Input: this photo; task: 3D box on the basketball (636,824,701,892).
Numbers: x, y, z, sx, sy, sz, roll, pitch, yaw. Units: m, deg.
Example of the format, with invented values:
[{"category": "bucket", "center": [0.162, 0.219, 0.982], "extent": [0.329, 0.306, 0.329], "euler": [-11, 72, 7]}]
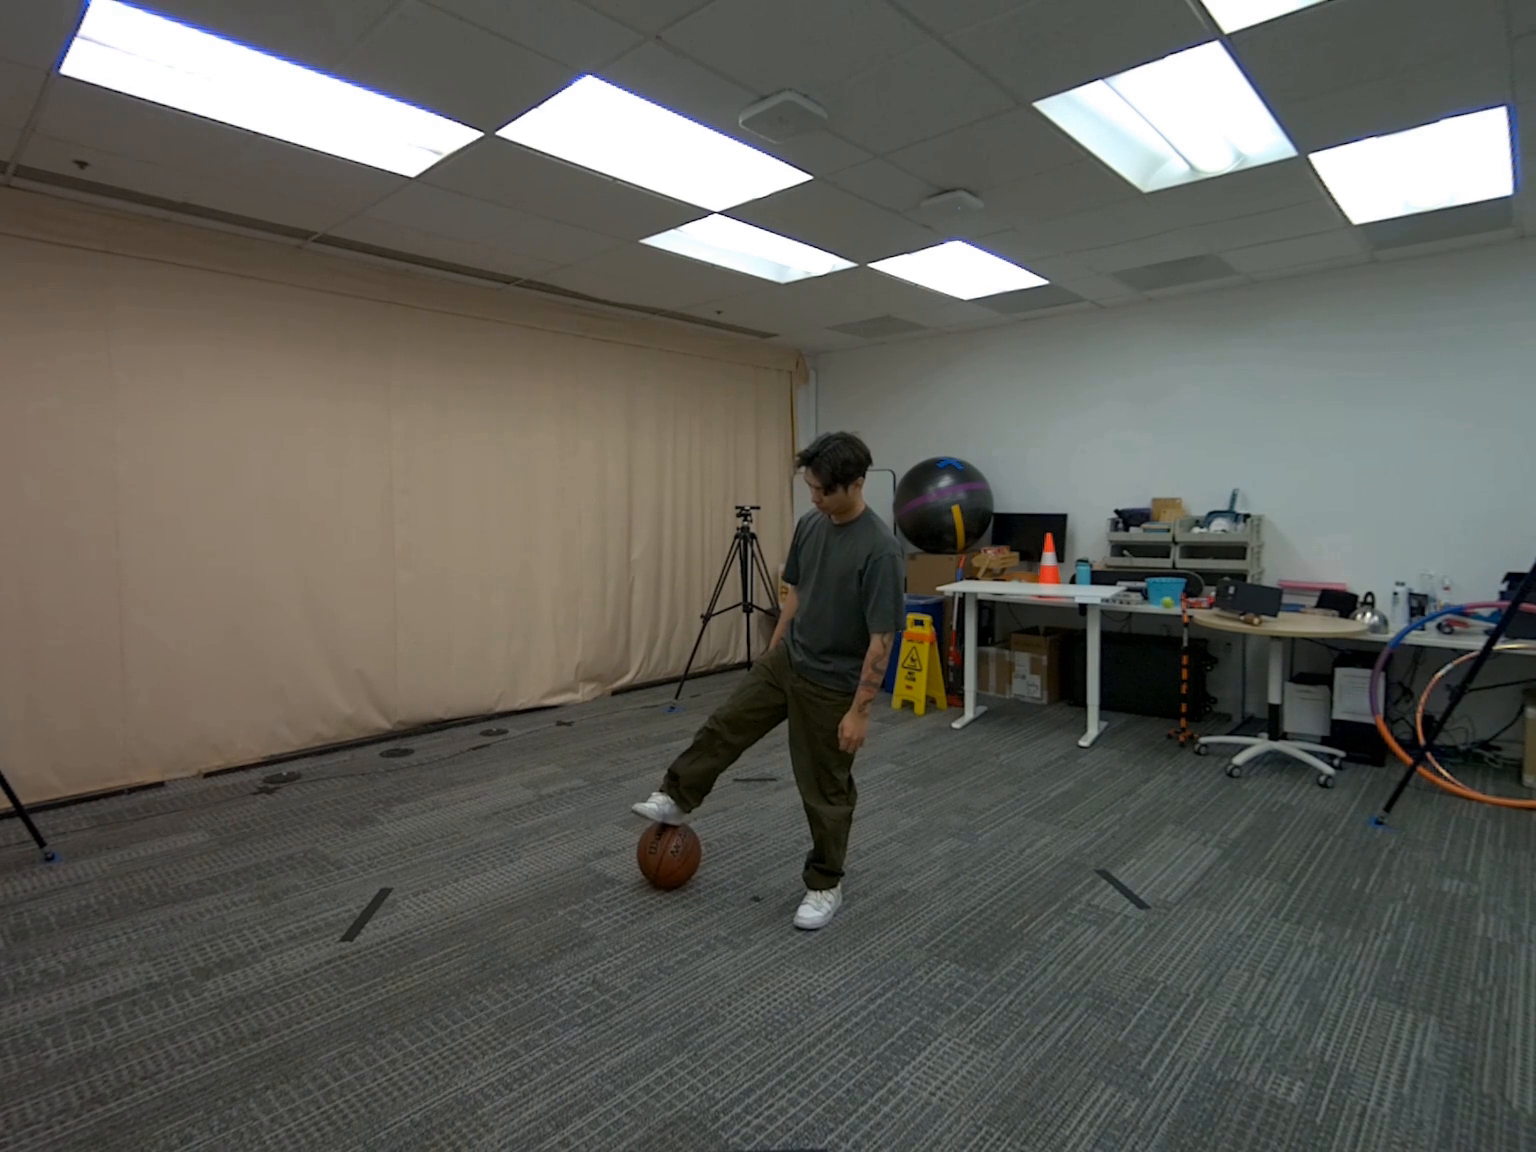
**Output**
[{"category": "basketball", "center": [-0.361, 1.020, 3.097], "extent": [0.236, 0.235, 0.237], "euler": [0, 4, -2]}]
